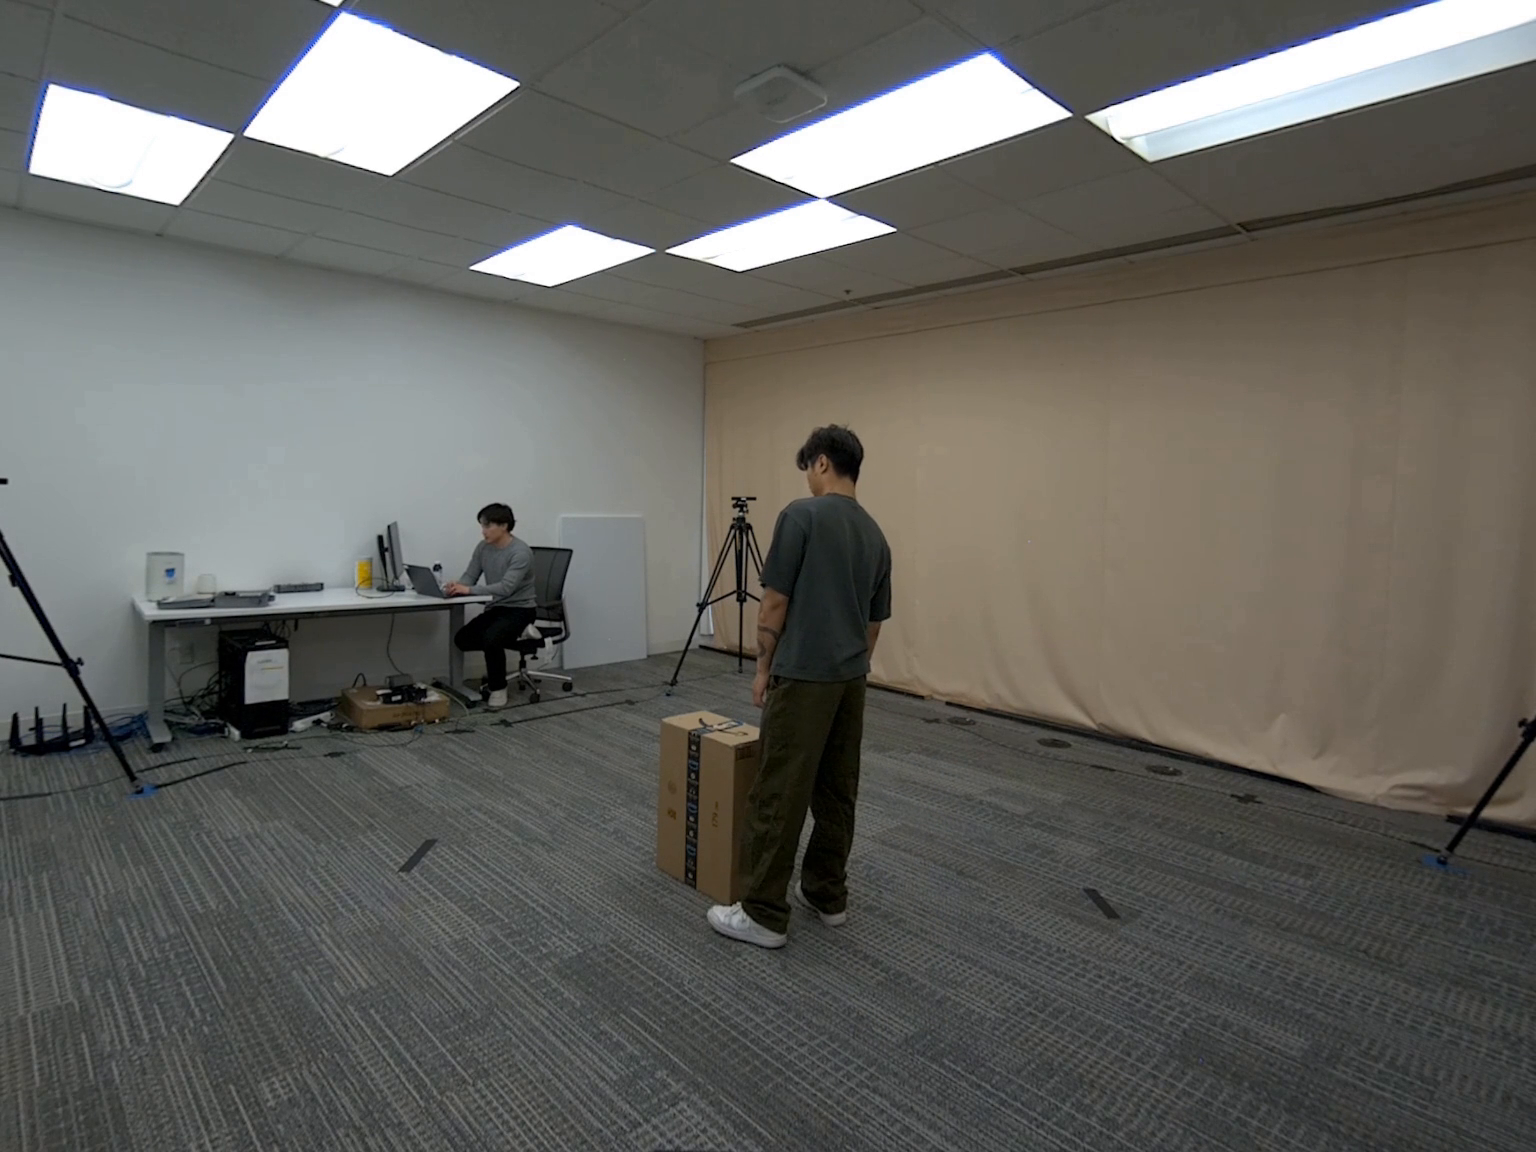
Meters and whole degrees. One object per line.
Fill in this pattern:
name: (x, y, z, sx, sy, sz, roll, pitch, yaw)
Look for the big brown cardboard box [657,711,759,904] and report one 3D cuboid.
big brown cardboard box: (-0.193, 0.822, 3.061, 0.228, 0.587, 0.428, -1, 5, -43)
